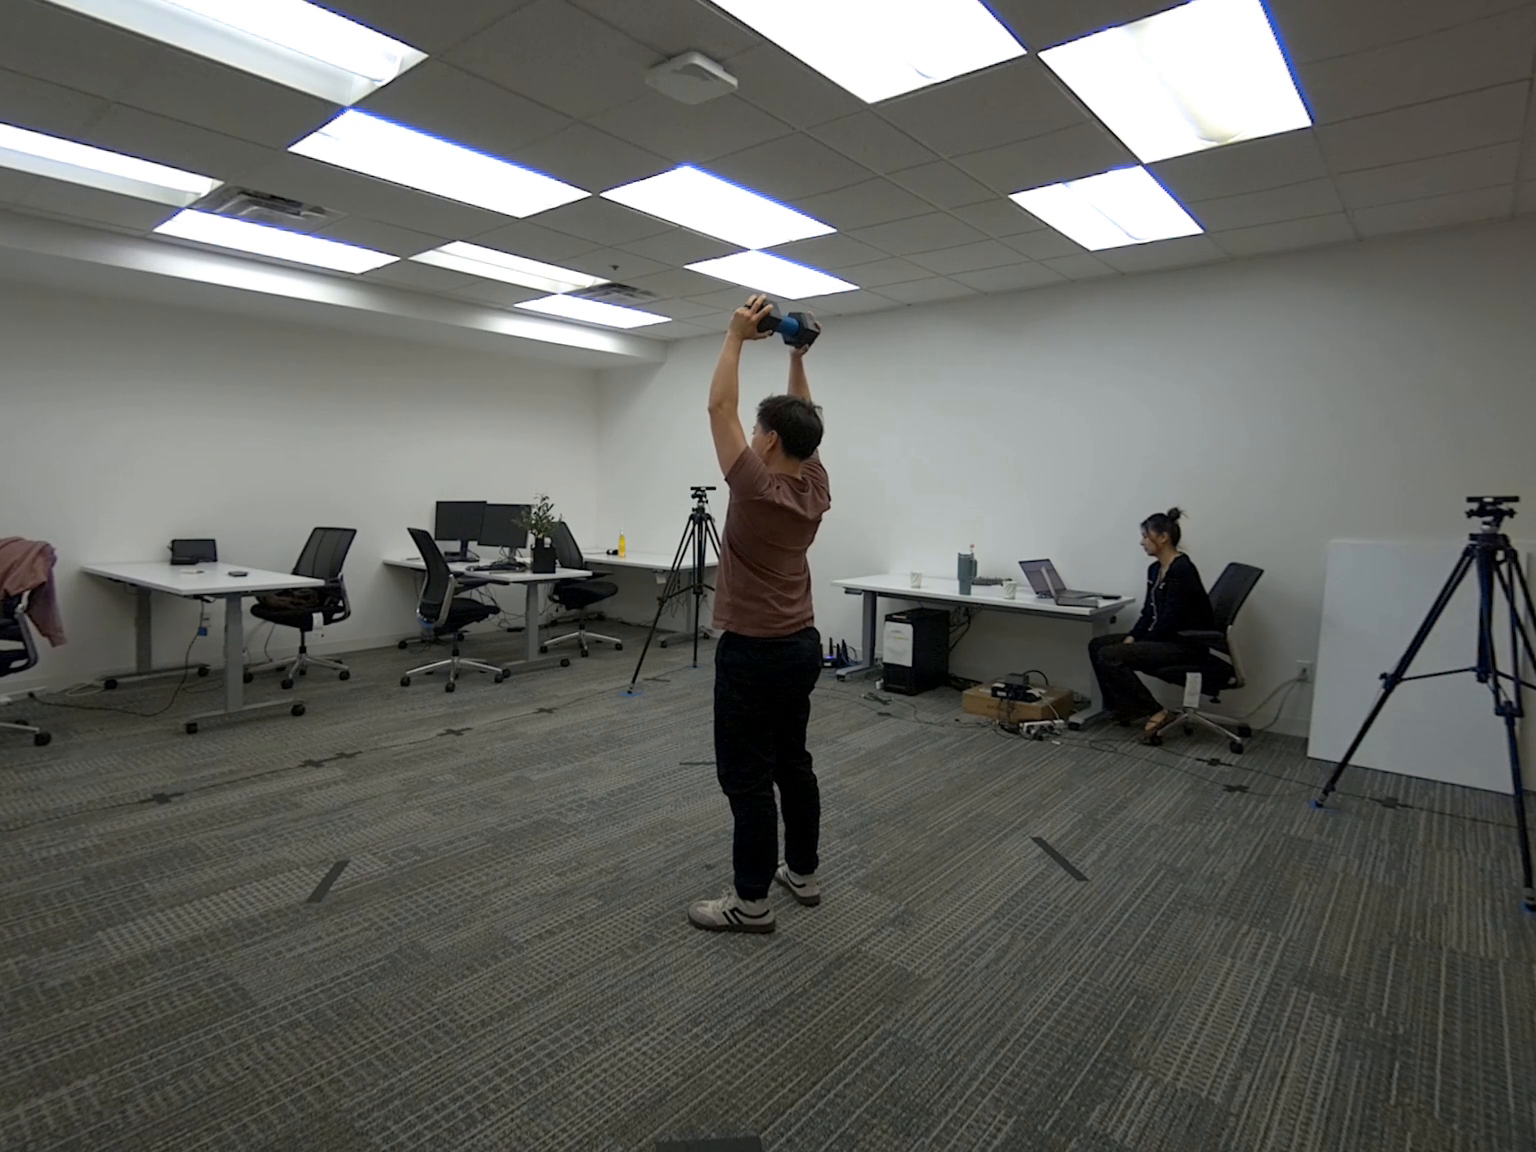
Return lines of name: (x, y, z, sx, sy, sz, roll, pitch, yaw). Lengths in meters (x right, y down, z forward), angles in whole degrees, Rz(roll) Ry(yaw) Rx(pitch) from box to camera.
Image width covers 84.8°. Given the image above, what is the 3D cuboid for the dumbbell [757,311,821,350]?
dumbbell: (0.026, -0.820, 2.763, 0.284, 0.122, 0.112, -3, 45, -51)
